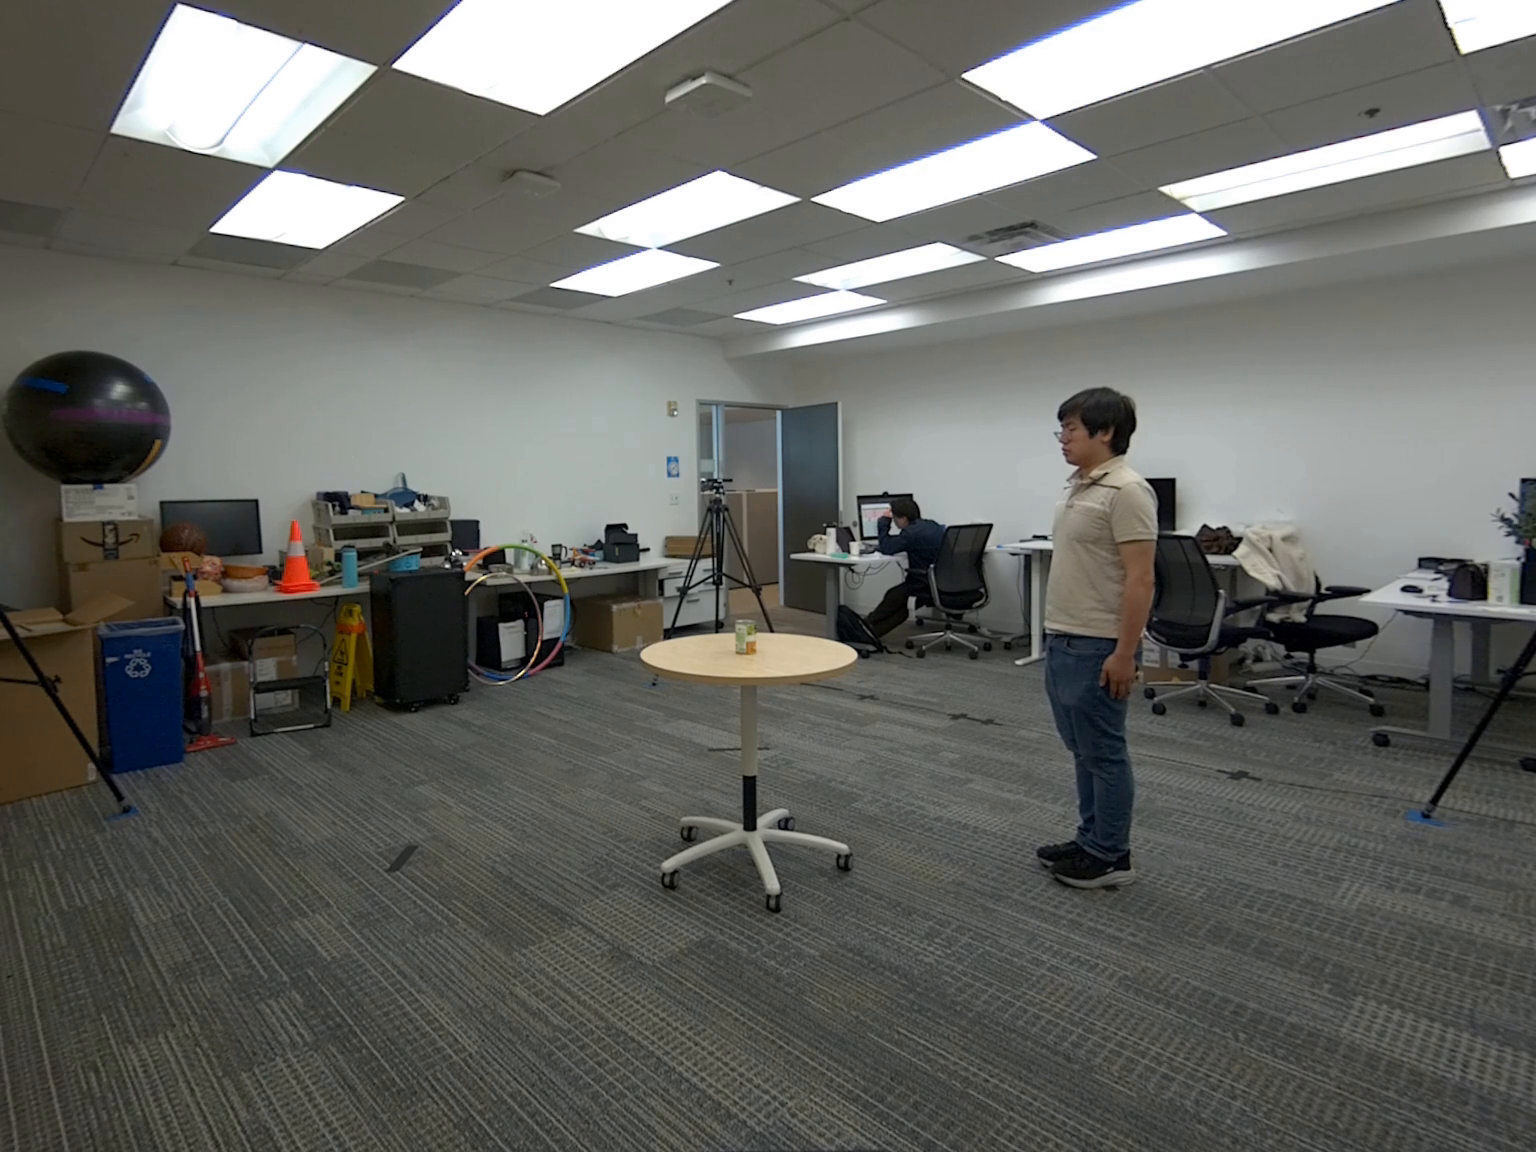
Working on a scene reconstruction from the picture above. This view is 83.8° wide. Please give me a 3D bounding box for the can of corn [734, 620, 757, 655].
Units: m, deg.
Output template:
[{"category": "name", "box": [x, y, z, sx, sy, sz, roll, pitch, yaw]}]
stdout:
[{"category": "can of corn", "box": [-0.074, 0.214, 3.009, 0.074, 0.111, 0.074, 0, 3, -2]}]
